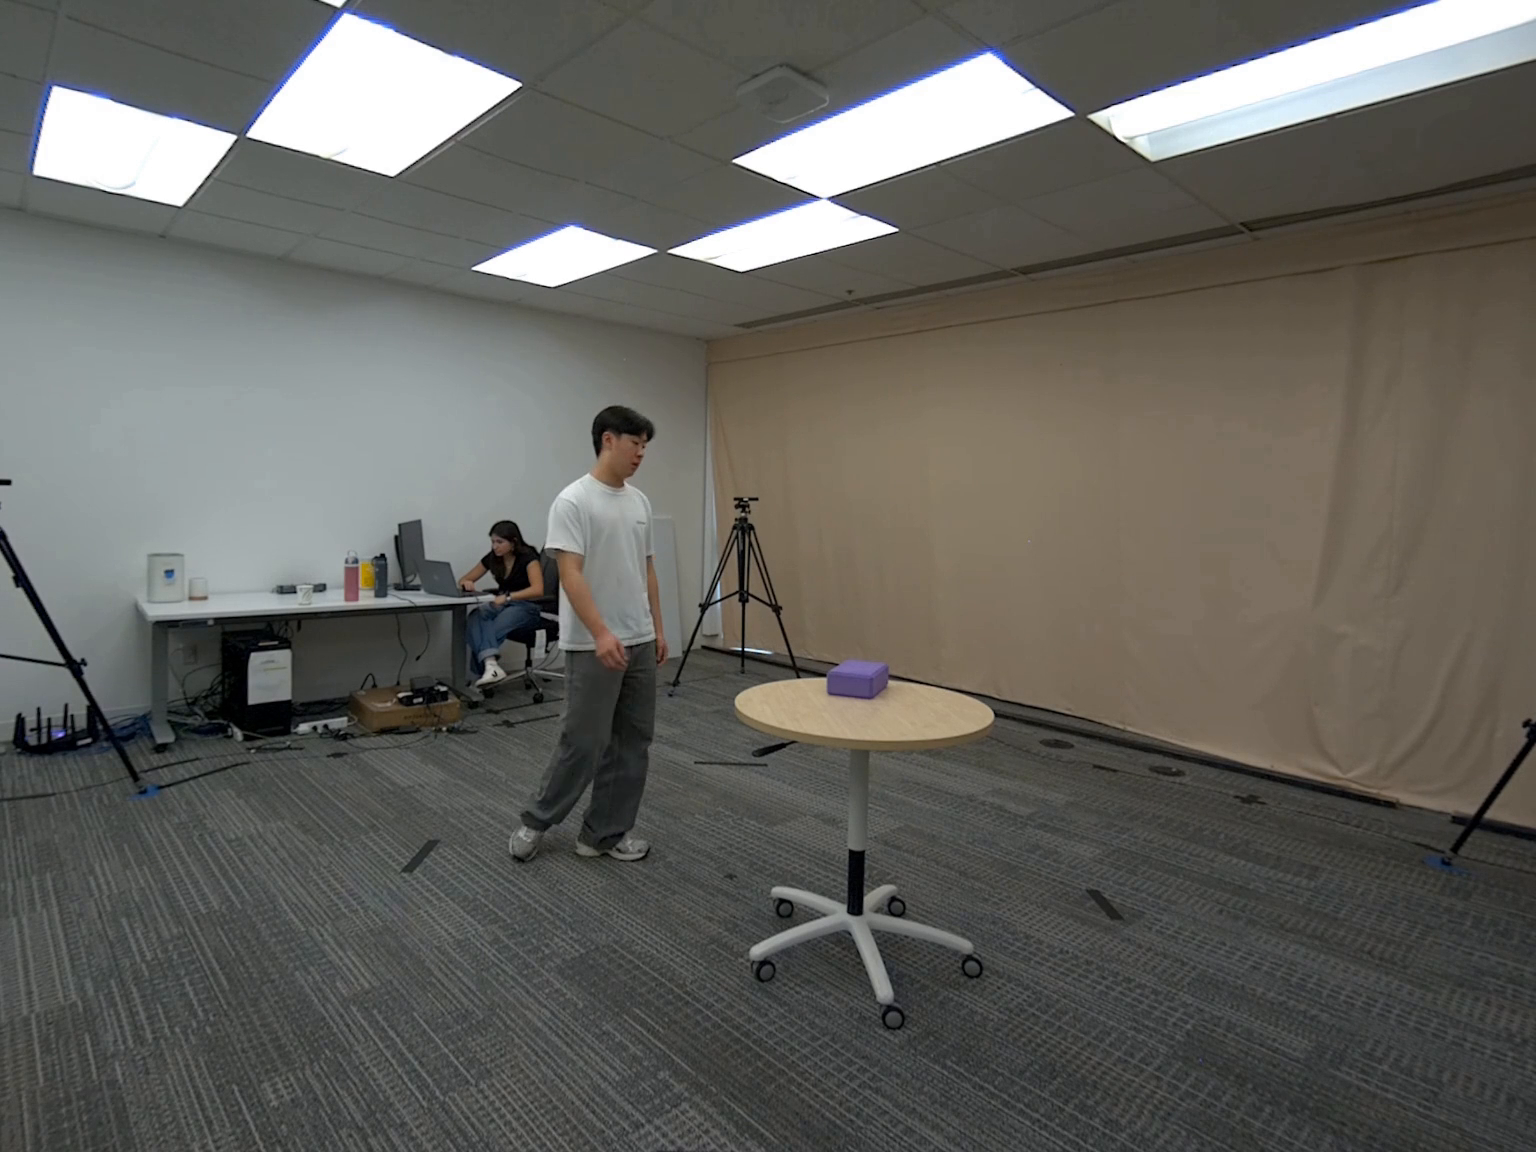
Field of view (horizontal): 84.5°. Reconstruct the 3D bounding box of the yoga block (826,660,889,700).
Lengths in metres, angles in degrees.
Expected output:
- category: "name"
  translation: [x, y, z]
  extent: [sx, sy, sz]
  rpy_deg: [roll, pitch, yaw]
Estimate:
- category: "yoga block"
  translation: [0.291, 0.336, 2.712]
  extent: [0.151, 0.076, 0.226]
  rpy_deg: [3, 6, 21]
